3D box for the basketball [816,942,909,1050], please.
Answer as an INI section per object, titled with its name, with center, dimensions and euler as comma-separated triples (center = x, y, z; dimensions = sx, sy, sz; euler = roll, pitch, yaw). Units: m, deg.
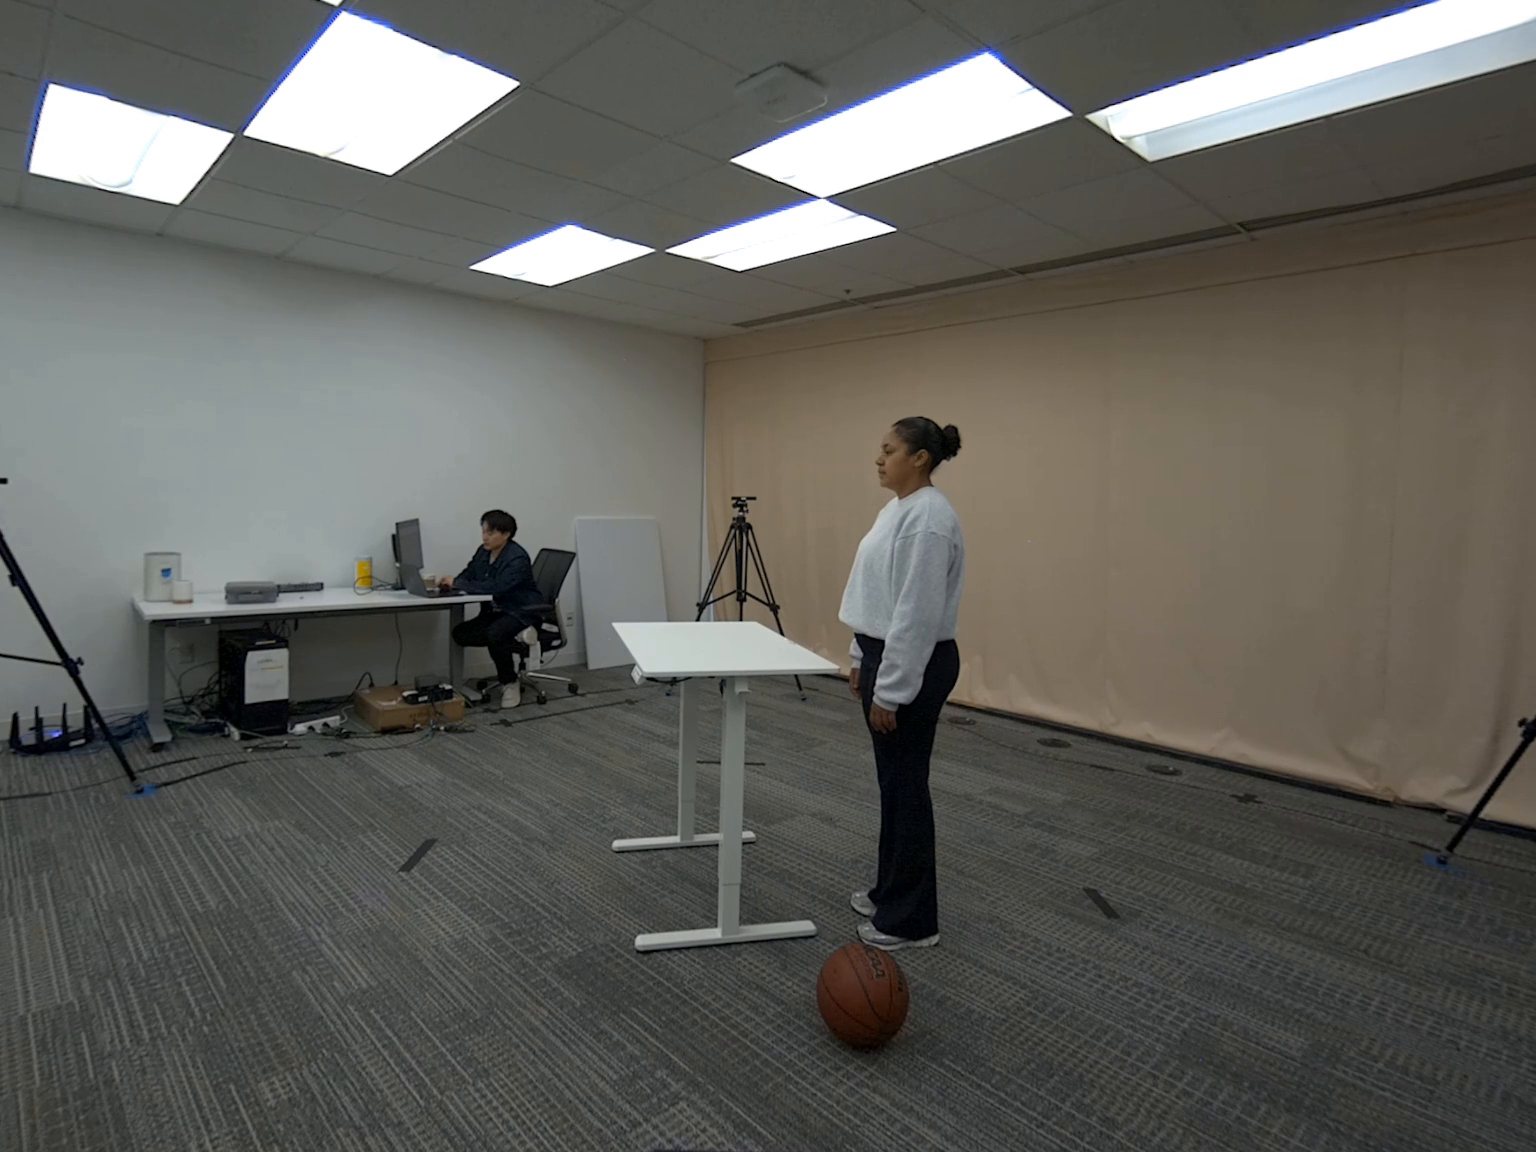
[basketball]
center = 0.241, 1.083, 2.180
dimensions = 0.236, 0.235, 0.237
euler = 1, 4, -1
